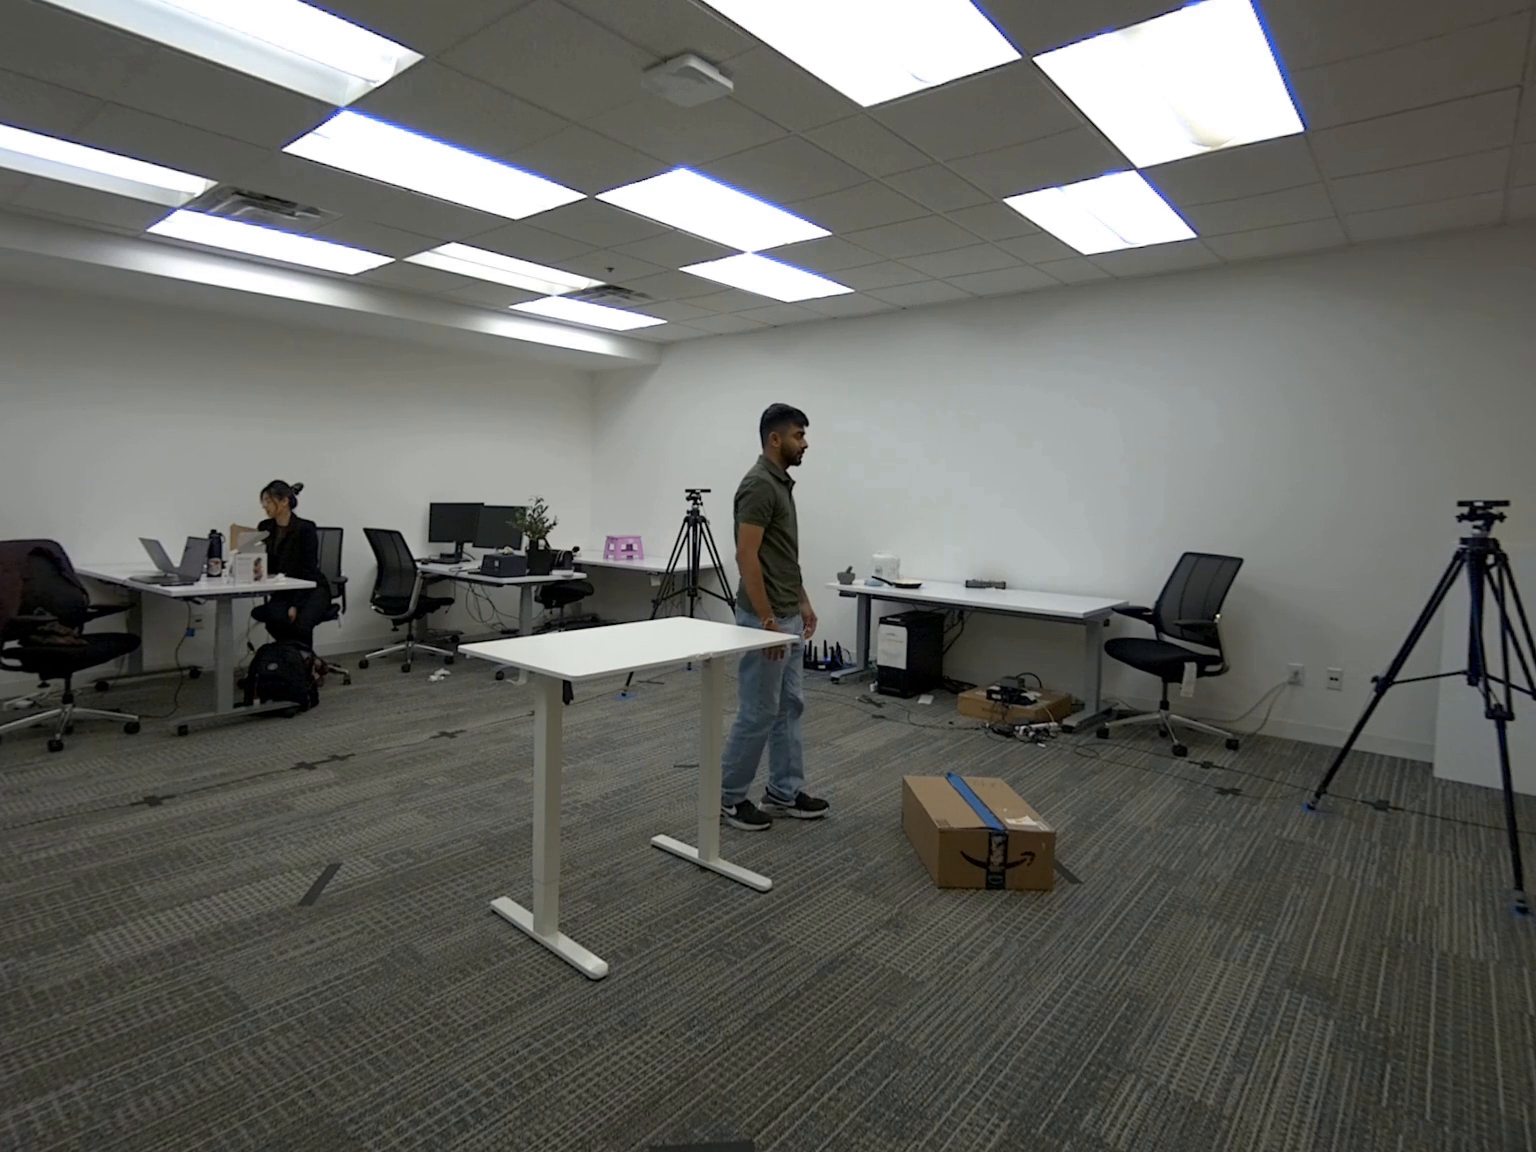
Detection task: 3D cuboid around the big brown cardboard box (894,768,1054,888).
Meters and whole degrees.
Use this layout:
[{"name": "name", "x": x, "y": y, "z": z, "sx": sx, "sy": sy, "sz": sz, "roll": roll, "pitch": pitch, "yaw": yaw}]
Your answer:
[{"name": "big brown cardboard box", "x": 0.773, "y": 0.961, "z": 3.276, "sx": 0.416, "sy": 0.232, "sz": 0.592, "roll": 1, "pitch": 4, "yaw": -4}]
